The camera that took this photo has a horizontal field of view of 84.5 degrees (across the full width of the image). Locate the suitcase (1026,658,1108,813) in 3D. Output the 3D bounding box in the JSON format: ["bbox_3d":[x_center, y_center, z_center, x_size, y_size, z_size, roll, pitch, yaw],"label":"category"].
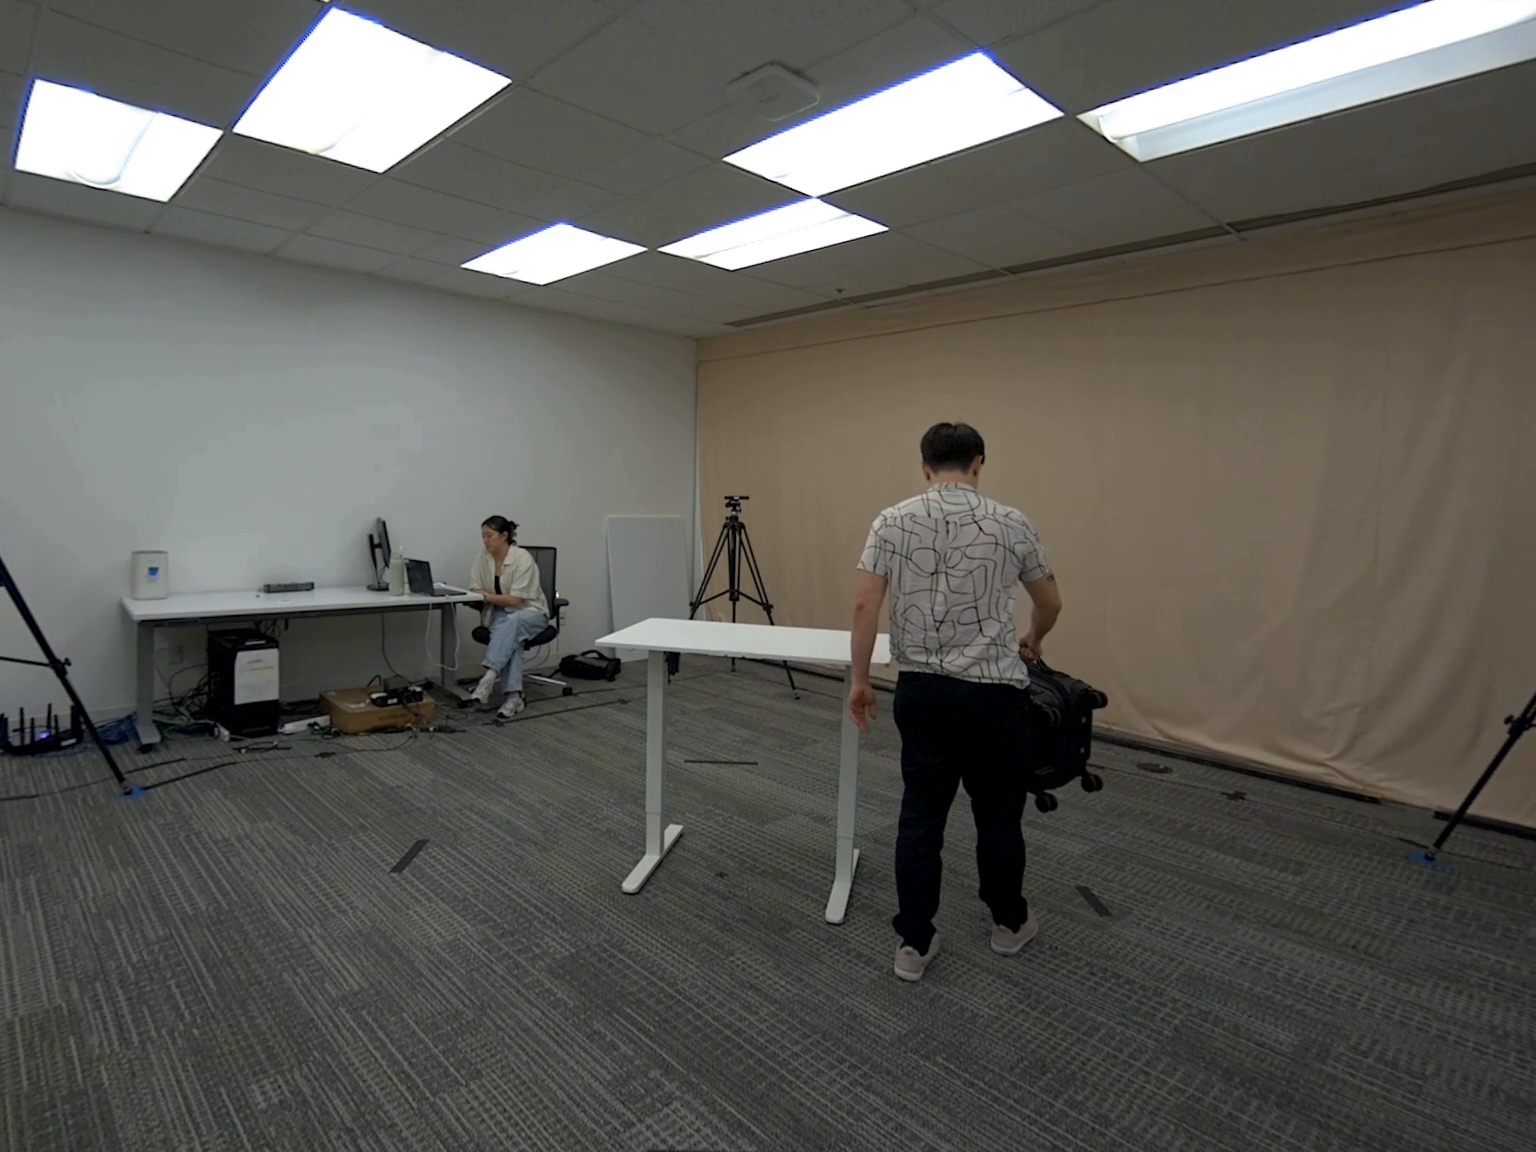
[{"bbox_3d":[0.824,0.470,2.852,0.244,0.371,0.564,-12,18,-26],"label":"suitcase"}]
